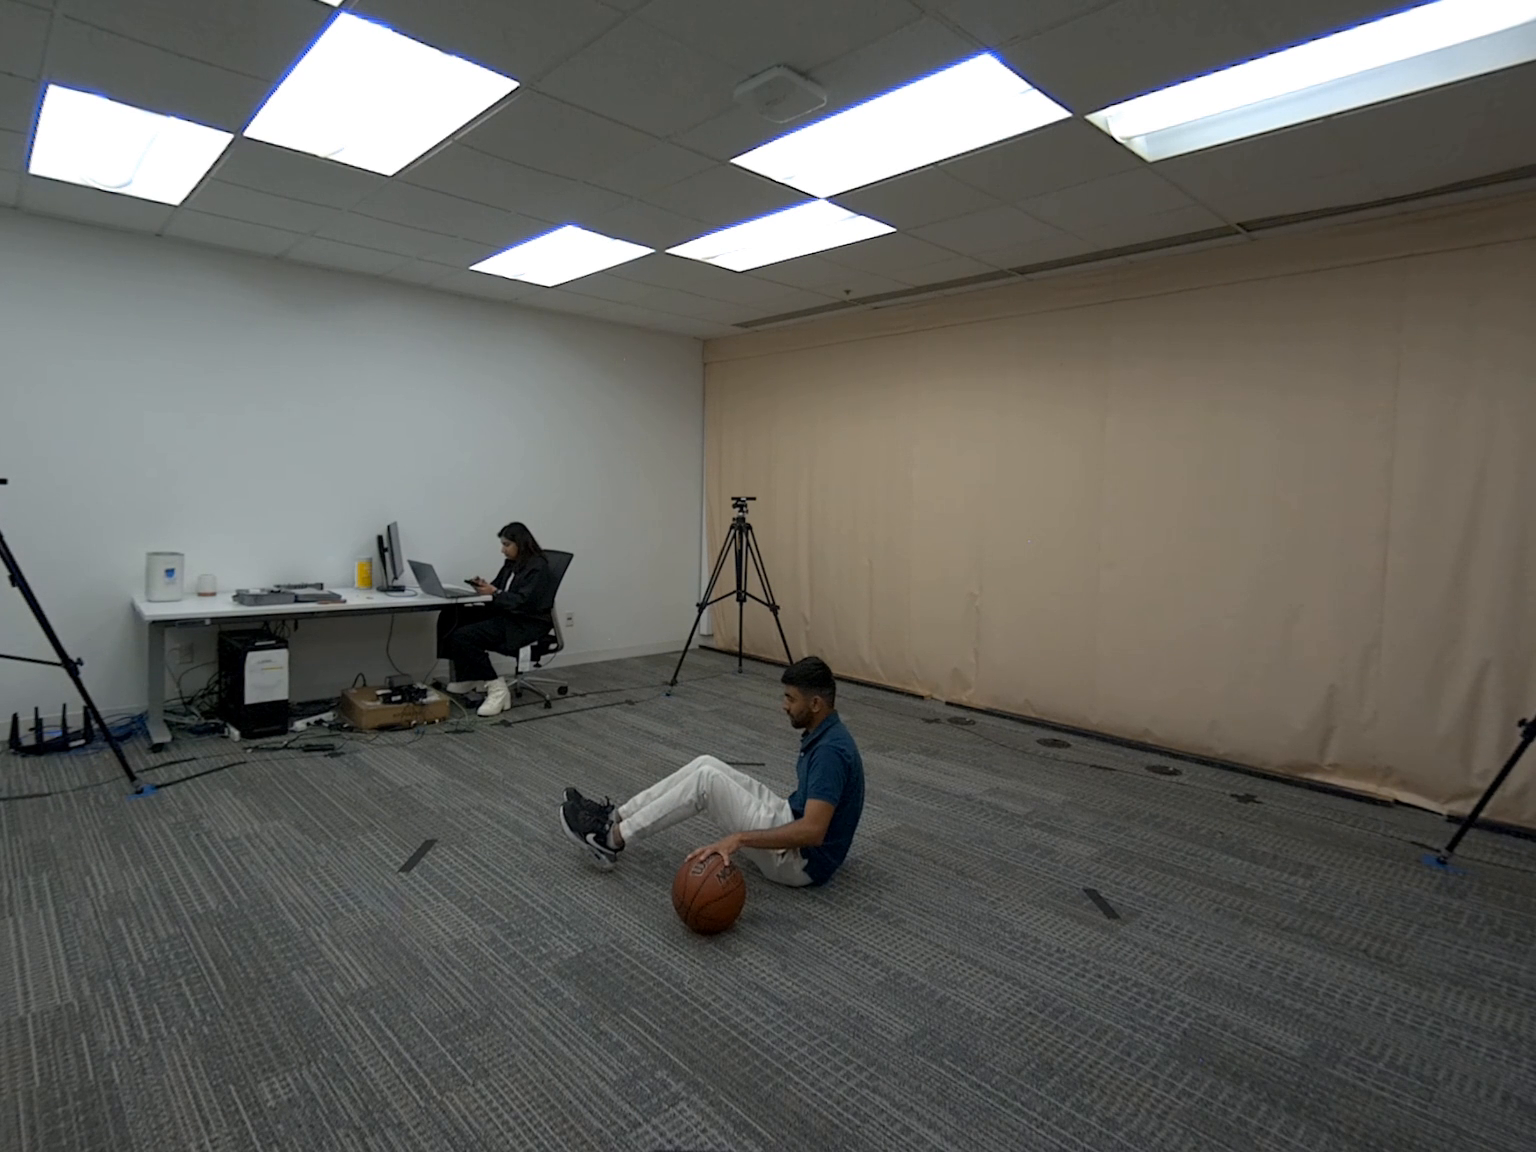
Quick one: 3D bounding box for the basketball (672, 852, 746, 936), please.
[{"bbox_3d":[-0.195,1.018,2.715,0.236,0.235,0.237,1,4,-1],"label":"basketball"}]
